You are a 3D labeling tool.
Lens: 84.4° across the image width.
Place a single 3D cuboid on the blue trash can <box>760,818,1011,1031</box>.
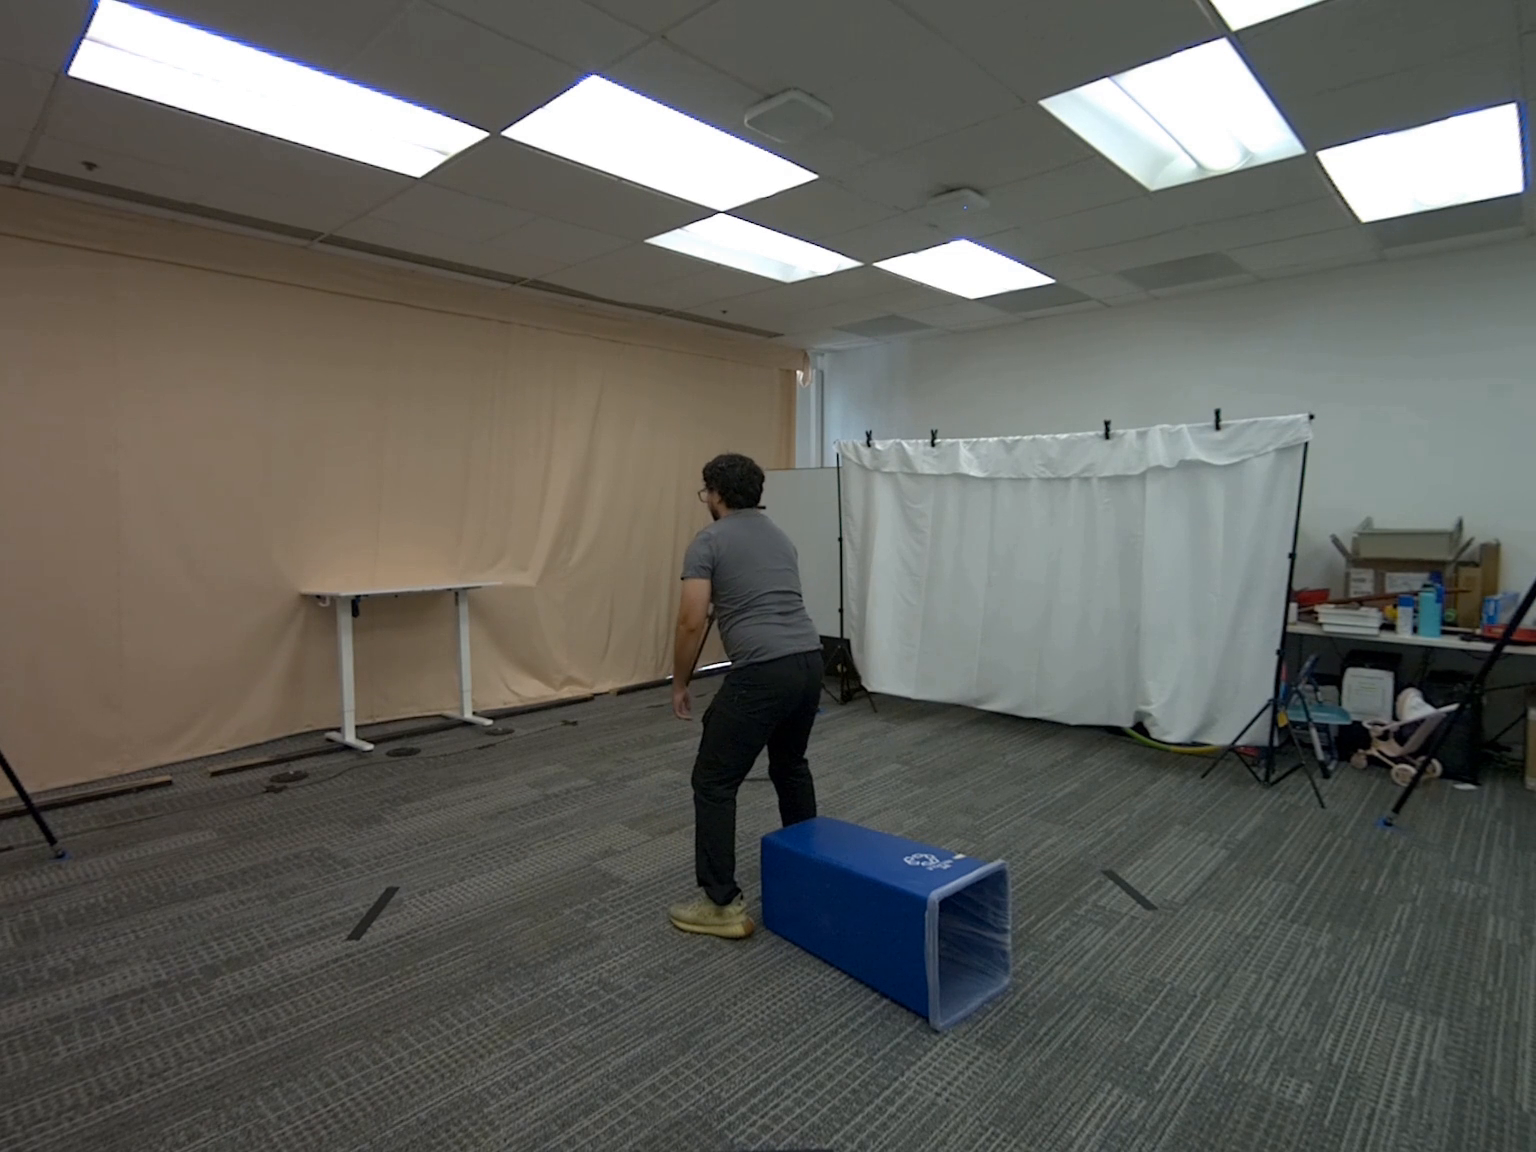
[{"bbox_3d":[0.334,1.001,2.588,0.366,0.373,0.737,-3,4,-42],"label":"blue trash can"}]
